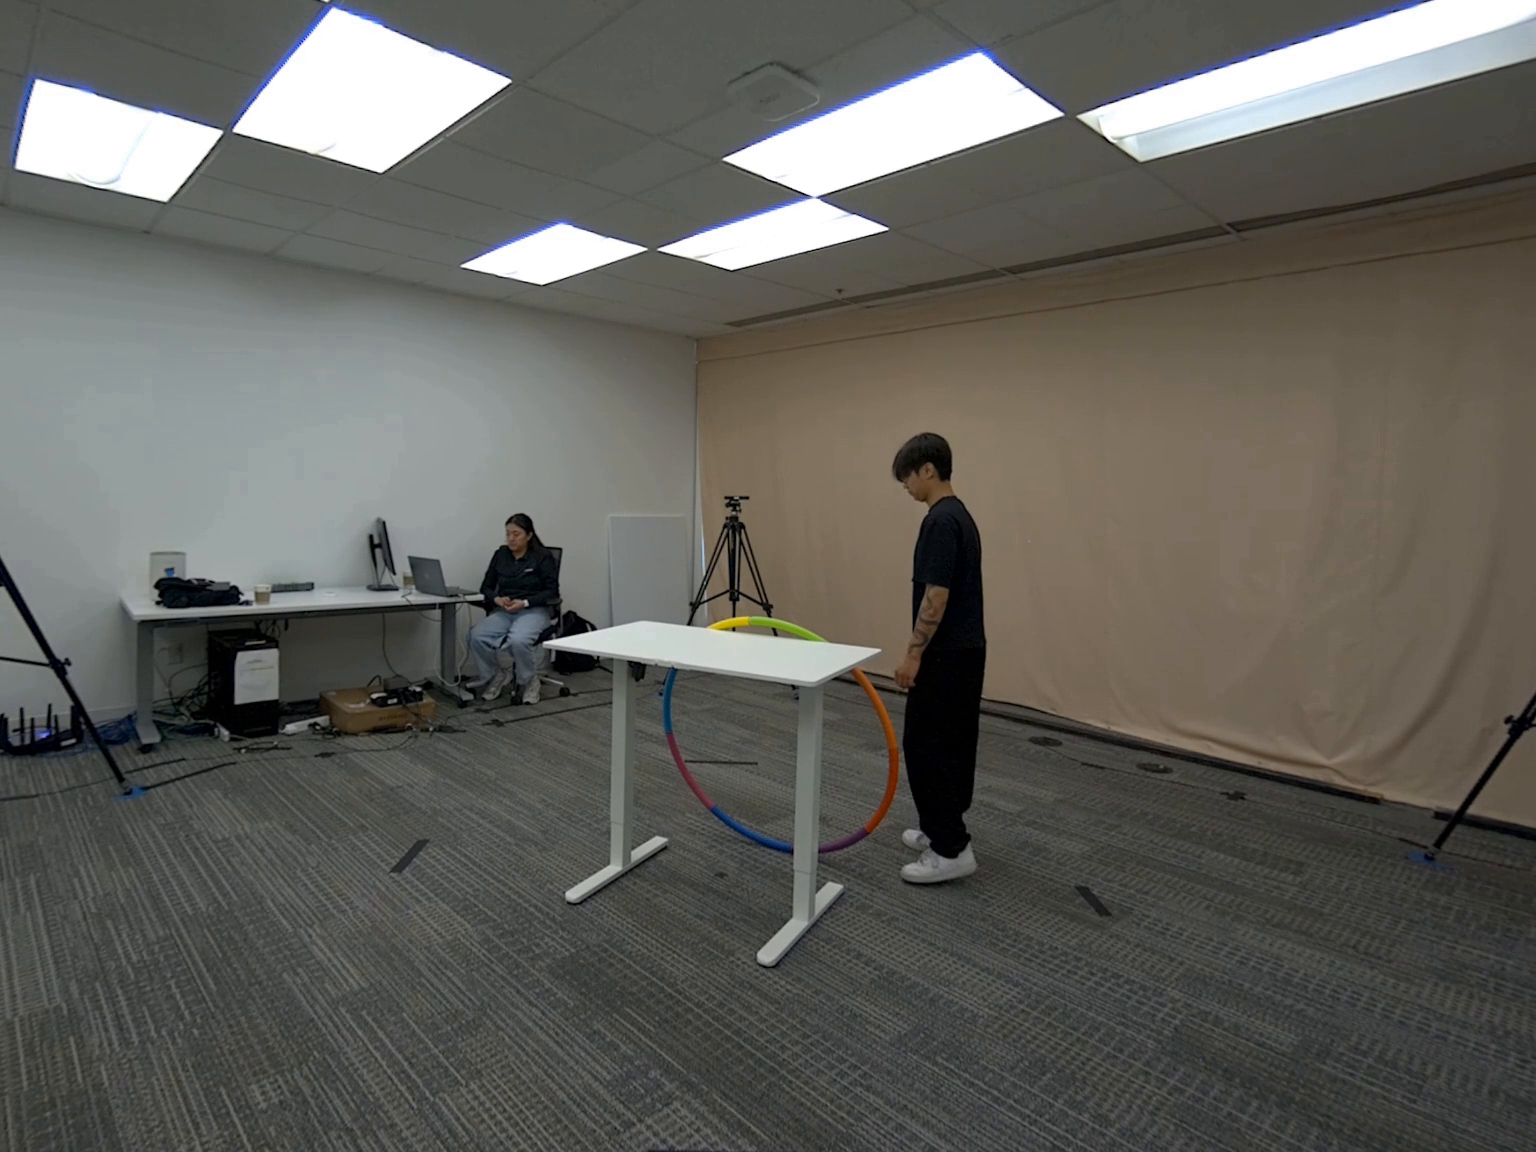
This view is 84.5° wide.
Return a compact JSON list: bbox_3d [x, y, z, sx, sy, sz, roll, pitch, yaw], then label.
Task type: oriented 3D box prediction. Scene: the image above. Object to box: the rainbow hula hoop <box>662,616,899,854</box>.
[{"bbox_3d":[0.012,0.621,3.236,1.000,0.968,0.035,4,15,29],"label":"rainbow hula hoop"}]
